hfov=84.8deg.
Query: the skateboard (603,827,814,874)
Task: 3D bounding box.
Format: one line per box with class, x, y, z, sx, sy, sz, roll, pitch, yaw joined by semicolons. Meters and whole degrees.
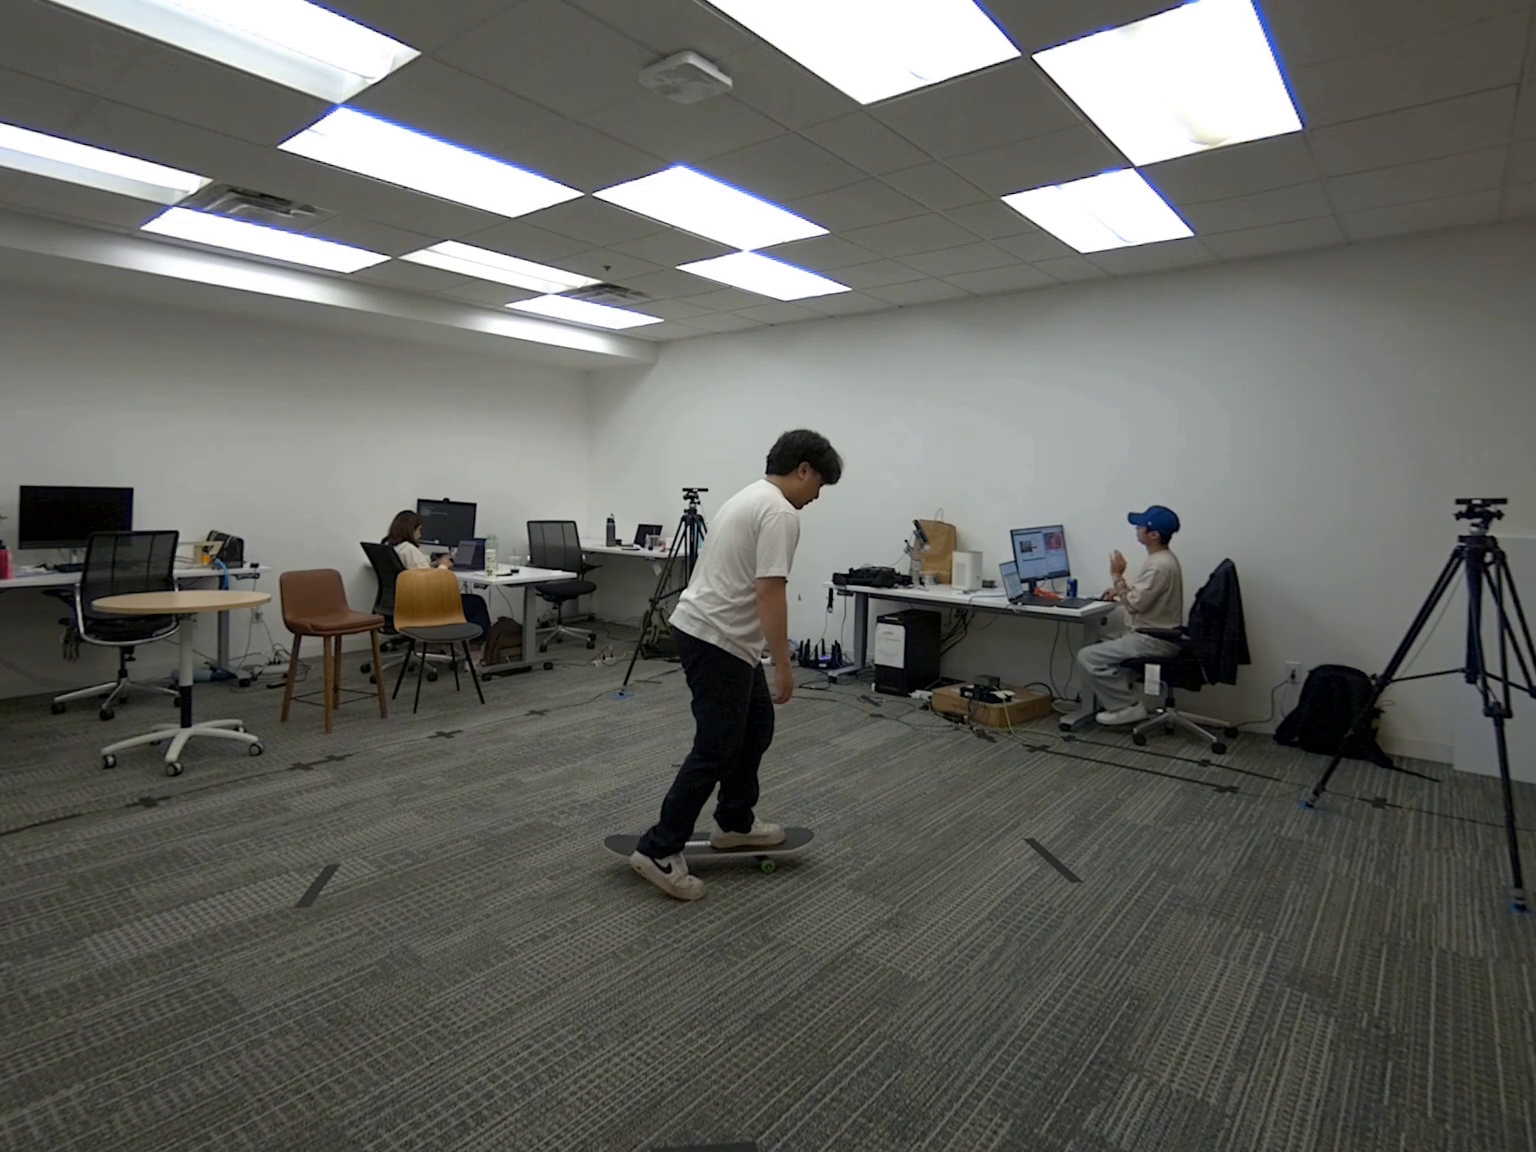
skateboard;-0.228;1.007;3.129;0.778;0.110;0.196;0;5;-9
